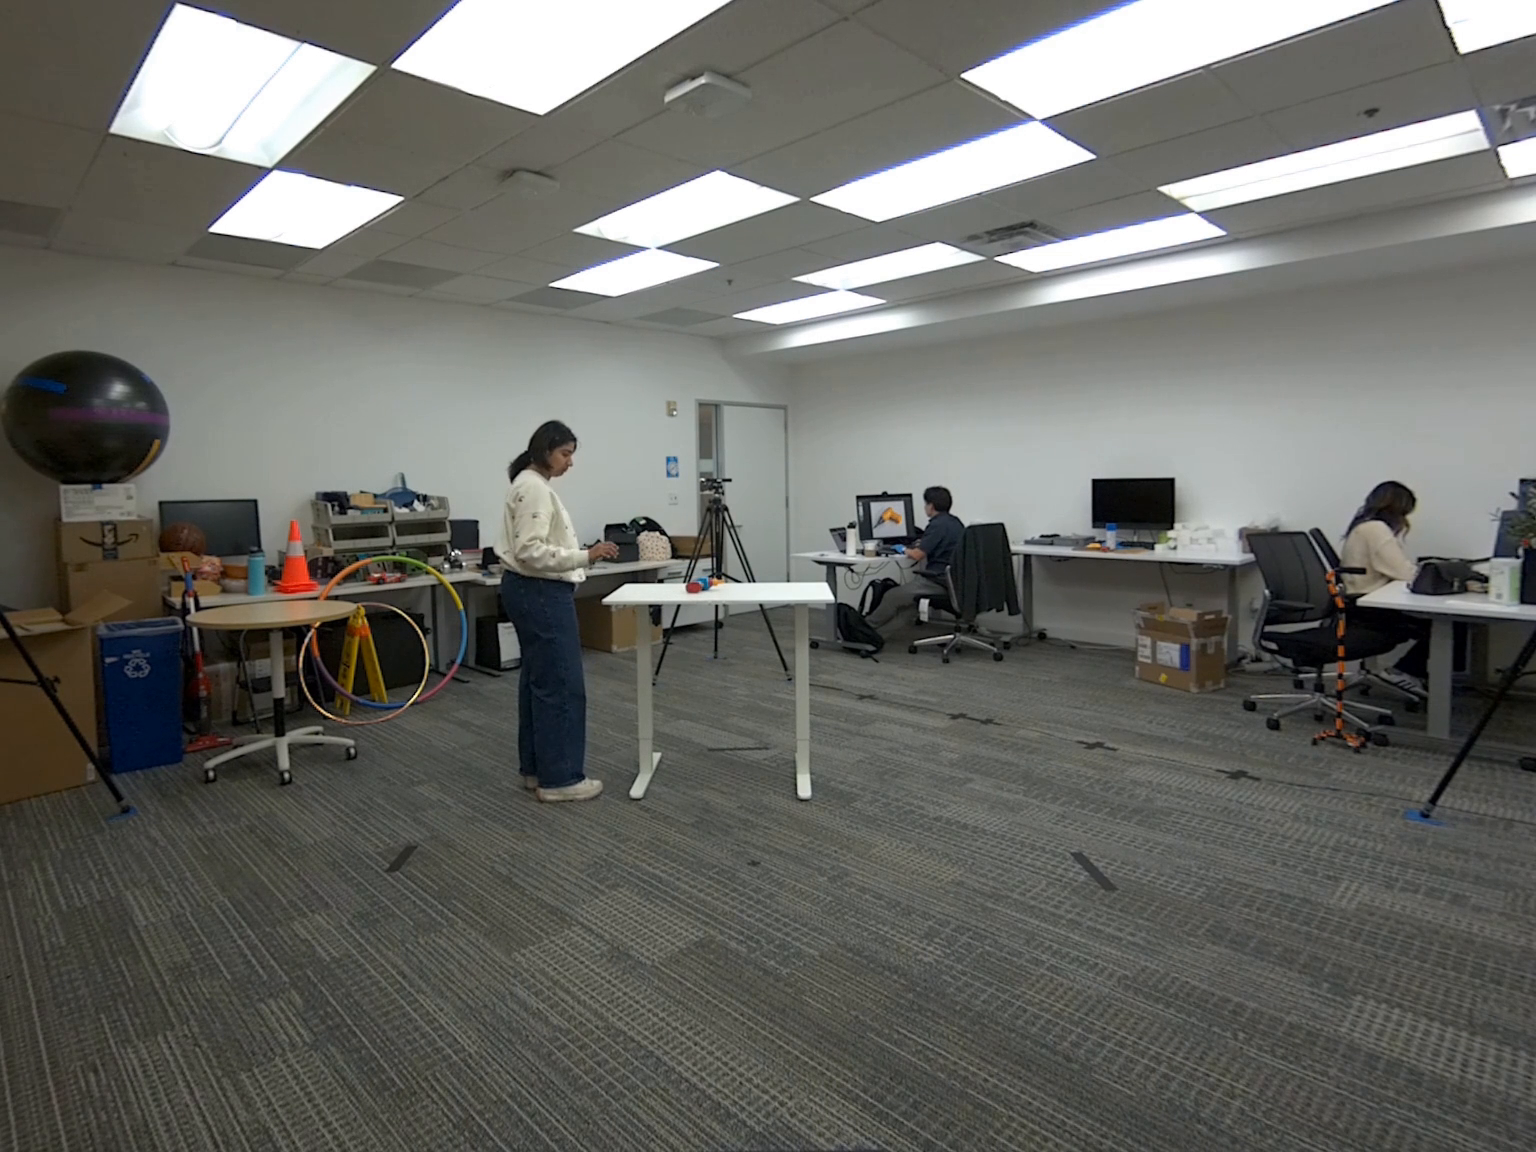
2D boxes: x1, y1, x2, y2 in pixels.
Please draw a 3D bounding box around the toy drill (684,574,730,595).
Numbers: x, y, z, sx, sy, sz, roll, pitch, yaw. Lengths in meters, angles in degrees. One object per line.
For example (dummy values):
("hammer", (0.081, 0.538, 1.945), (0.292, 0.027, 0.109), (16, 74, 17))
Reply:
("toy drill", (-0.283, 0.035, 3.945), (0.172, 0.061, 0.145), (-5, 6, 13))
